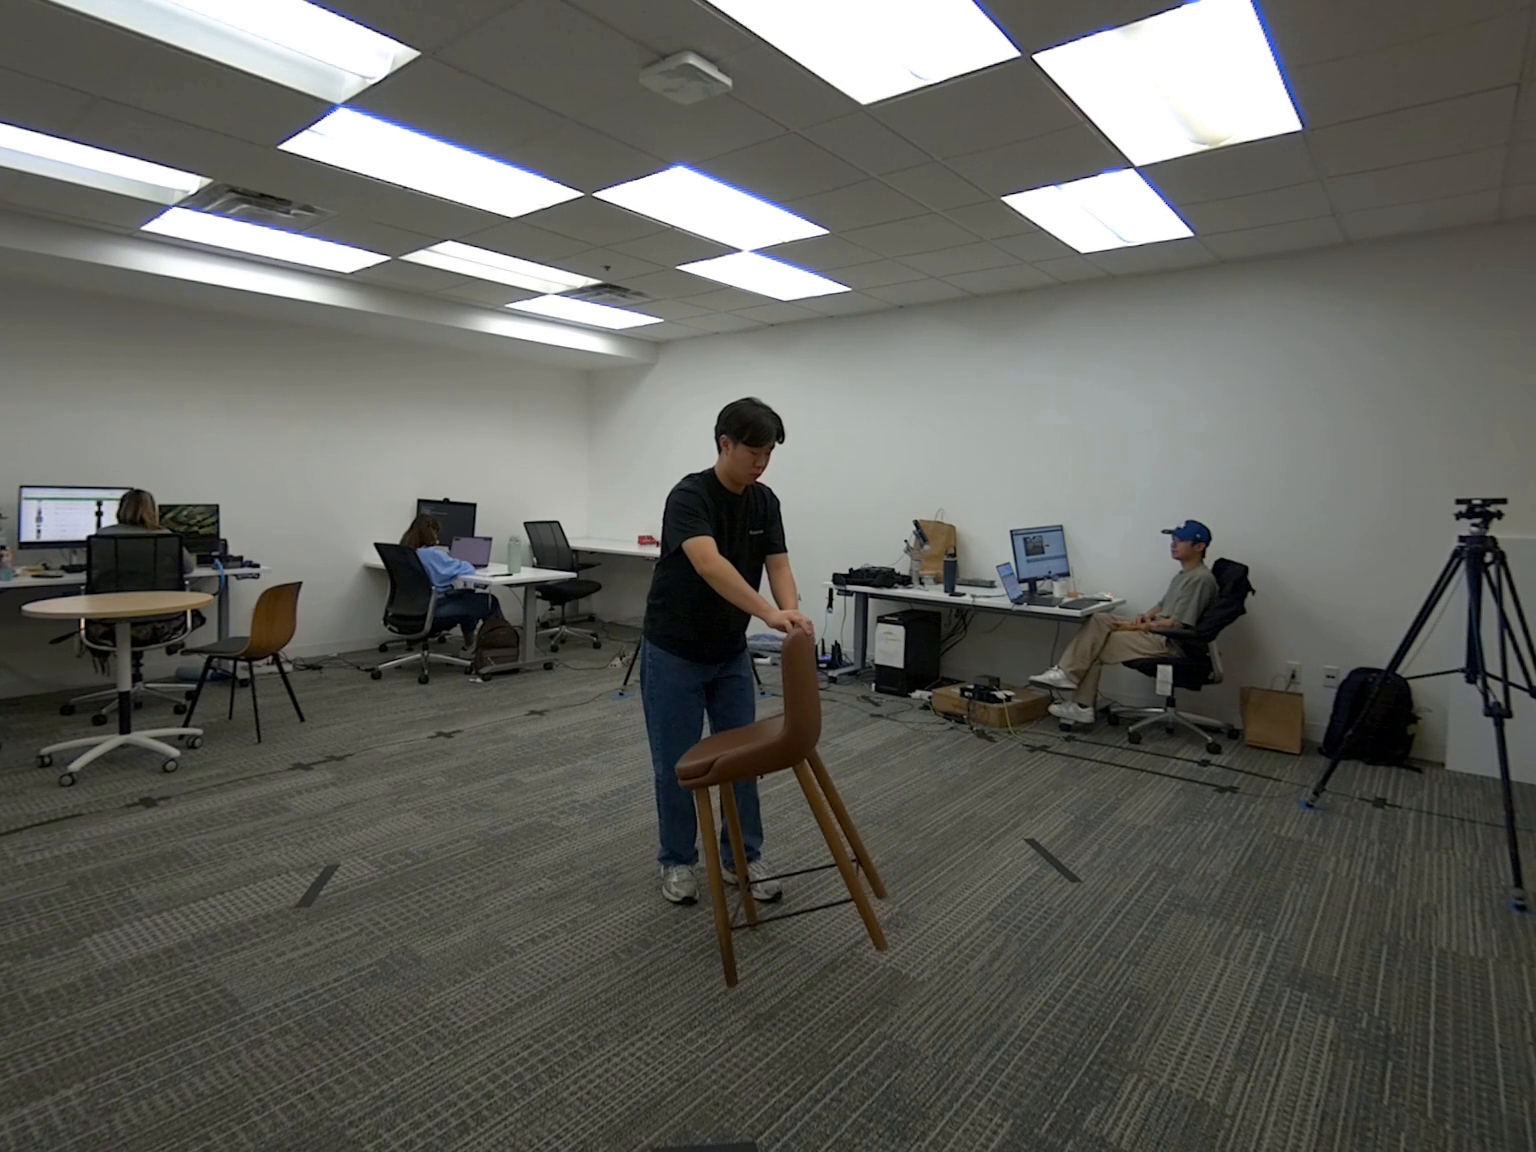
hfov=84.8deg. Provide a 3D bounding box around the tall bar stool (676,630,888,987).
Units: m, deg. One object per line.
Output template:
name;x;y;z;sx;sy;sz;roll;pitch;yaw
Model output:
tall bar stool;0.006;0.636;2.507;0.471;0.894;0.451;-16;-4;9
